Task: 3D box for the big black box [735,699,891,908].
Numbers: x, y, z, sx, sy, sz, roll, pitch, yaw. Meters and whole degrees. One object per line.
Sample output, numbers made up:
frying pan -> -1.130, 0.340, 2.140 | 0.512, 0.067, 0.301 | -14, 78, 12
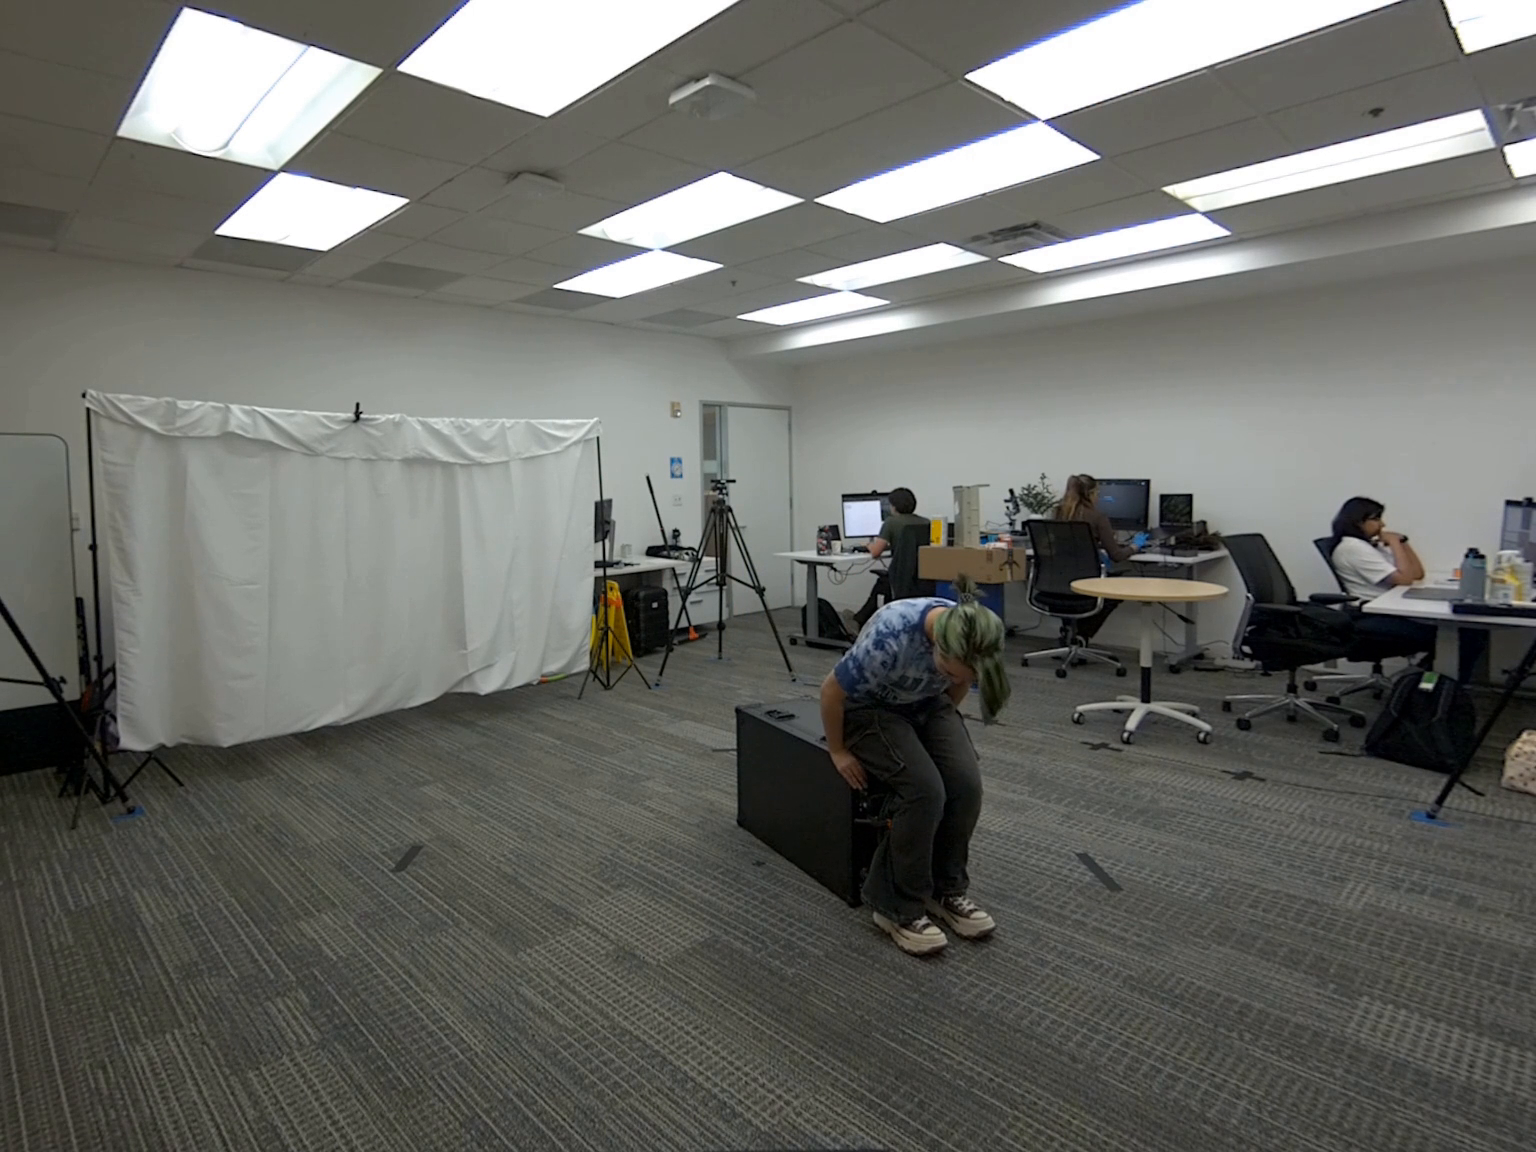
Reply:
big black box -> 0.246, 0.793, 3.163 | 0.387, 0.519, 0.885 | -4, 7, -28
